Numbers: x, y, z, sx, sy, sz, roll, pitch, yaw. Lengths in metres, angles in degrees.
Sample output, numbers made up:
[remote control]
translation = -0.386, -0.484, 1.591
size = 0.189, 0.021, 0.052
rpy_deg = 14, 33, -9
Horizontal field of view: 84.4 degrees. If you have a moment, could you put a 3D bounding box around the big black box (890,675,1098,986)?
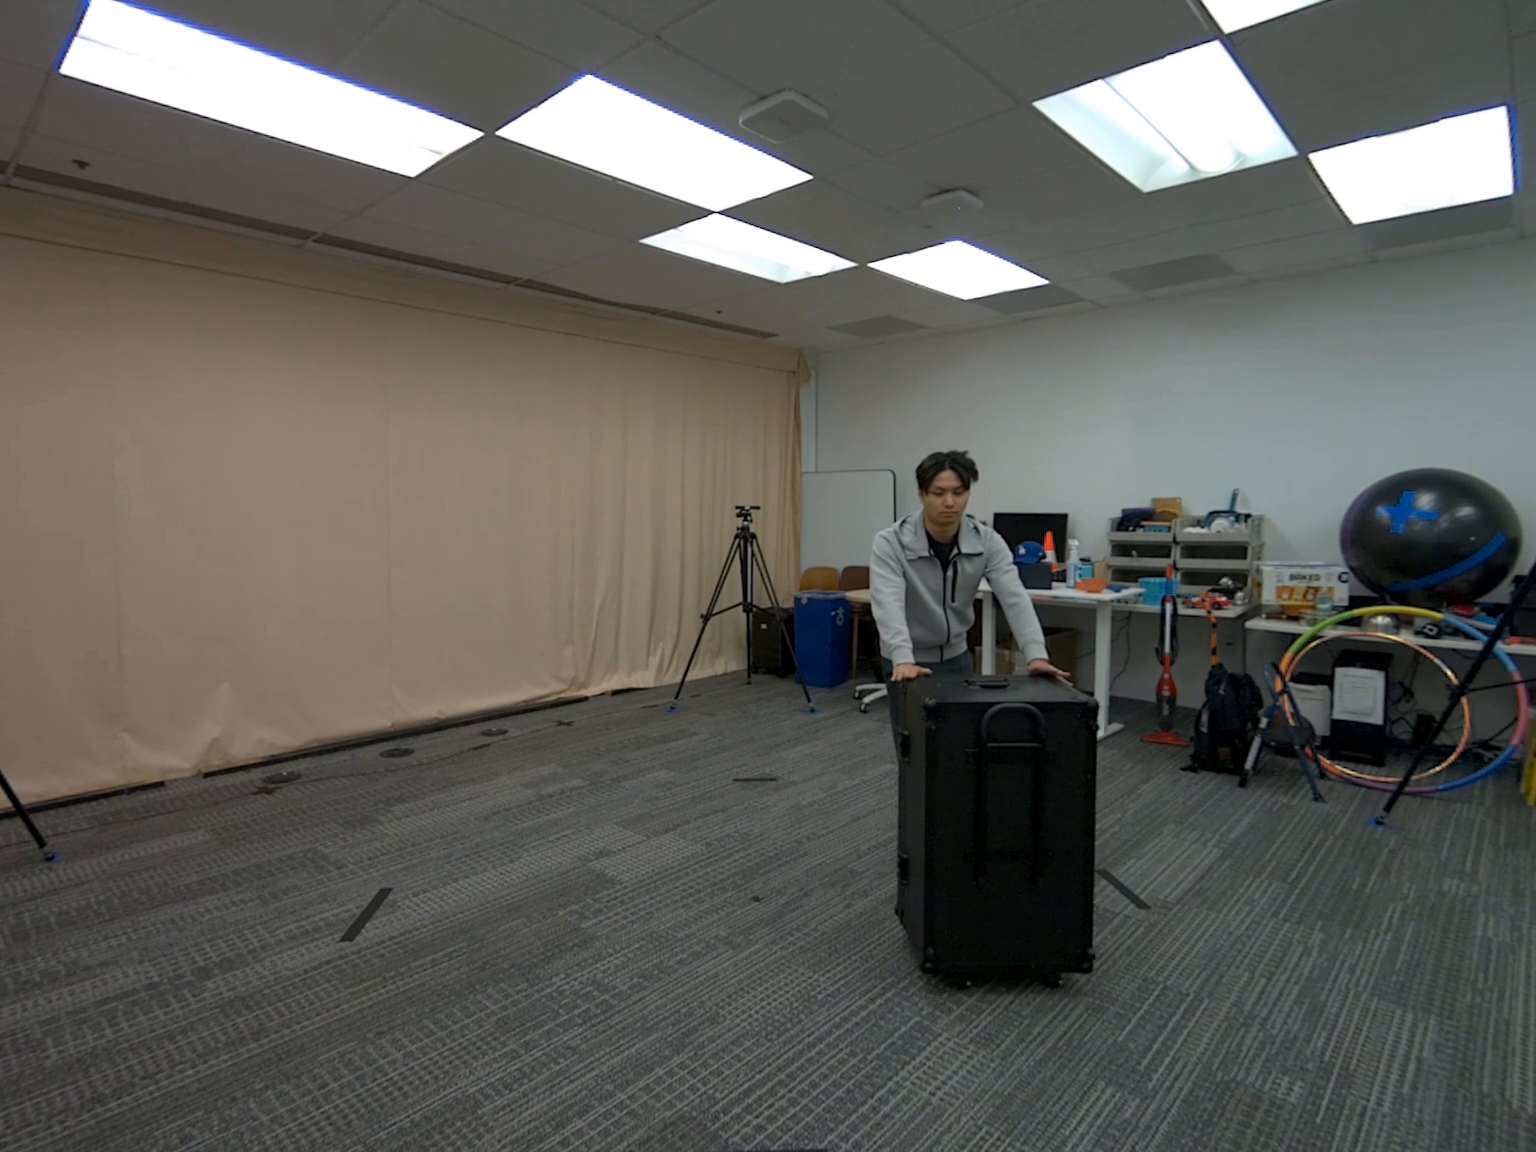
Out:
[big black box]
translation = 0.677, 0.759, 2.525
size = 0.521, 0.859, 0.398
rpy_deg = 0, 4, -2
